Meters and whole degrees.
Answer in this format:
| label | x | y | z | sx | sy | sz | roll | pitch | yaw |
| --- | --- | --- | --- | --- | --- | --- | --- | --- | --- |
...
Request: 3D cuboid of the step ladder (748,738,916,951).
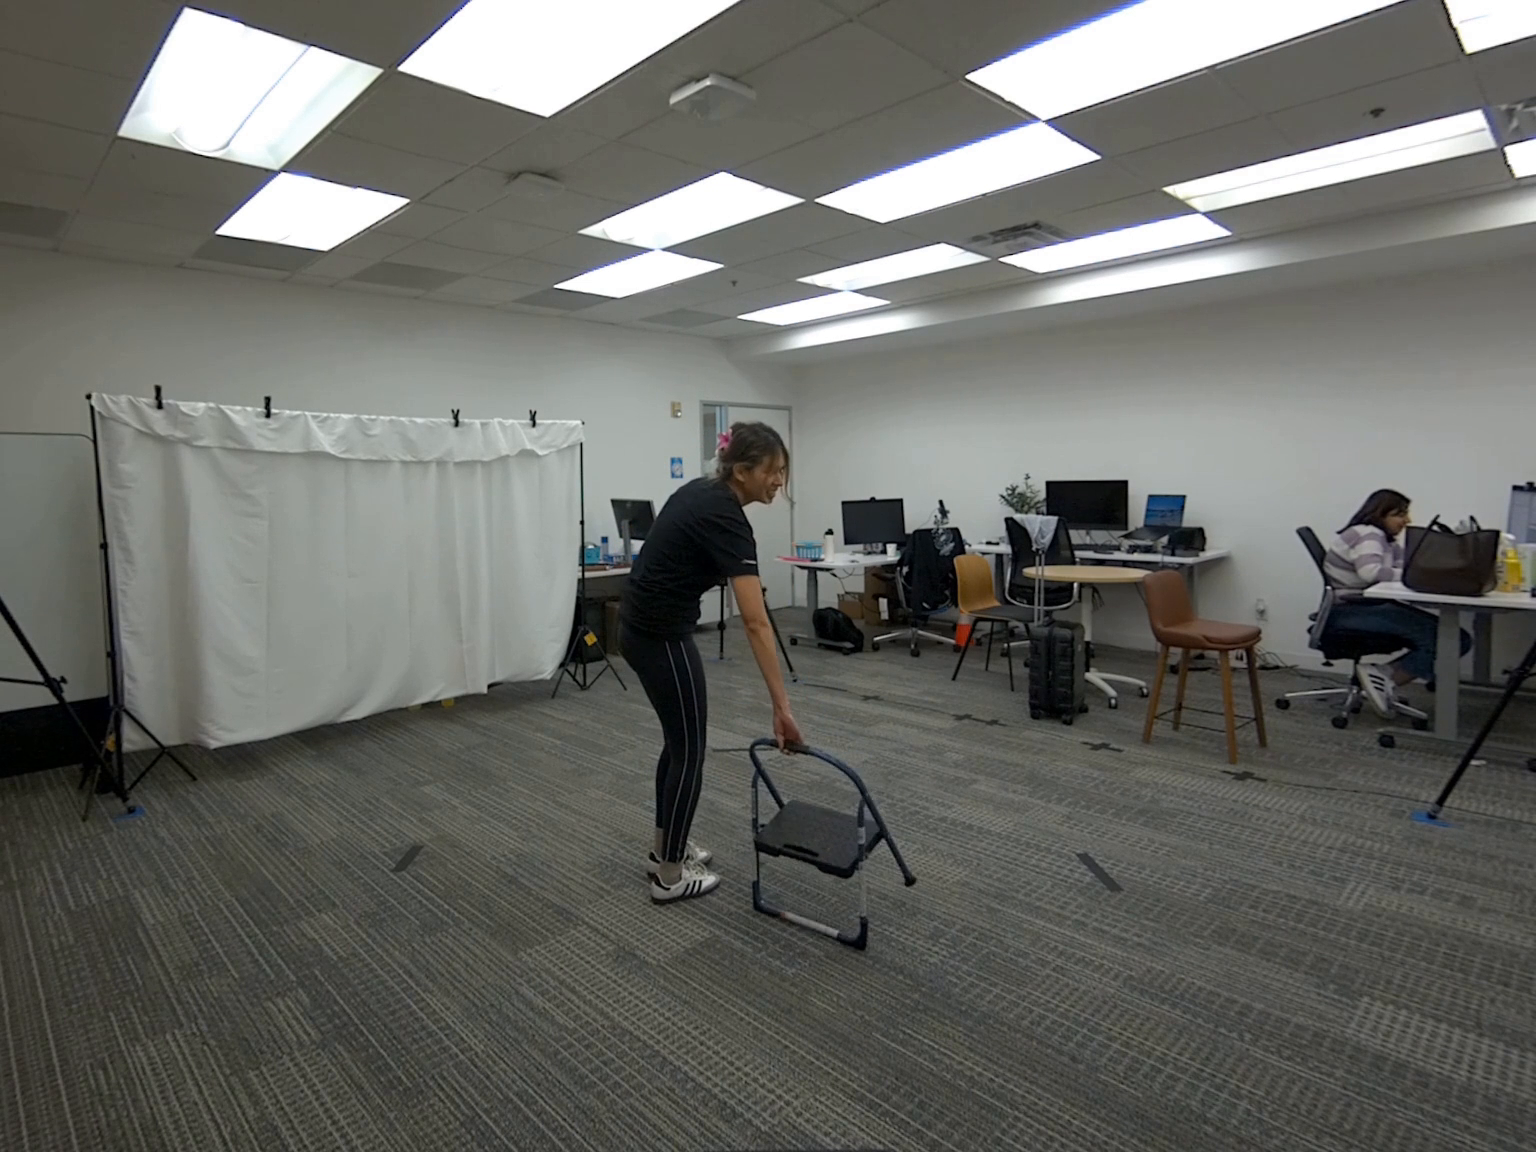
| label | x | y | z | sx | sy | sz | roll | pitch | yaw |
| --- | --- | --- | --- | --- | --- | --- | --- | --- | --- |
| step ladder | 0.161 | 0.759 | 2.699 | 0.443 | 0.596 | 0.345 | 2 | 21 | 37 |
